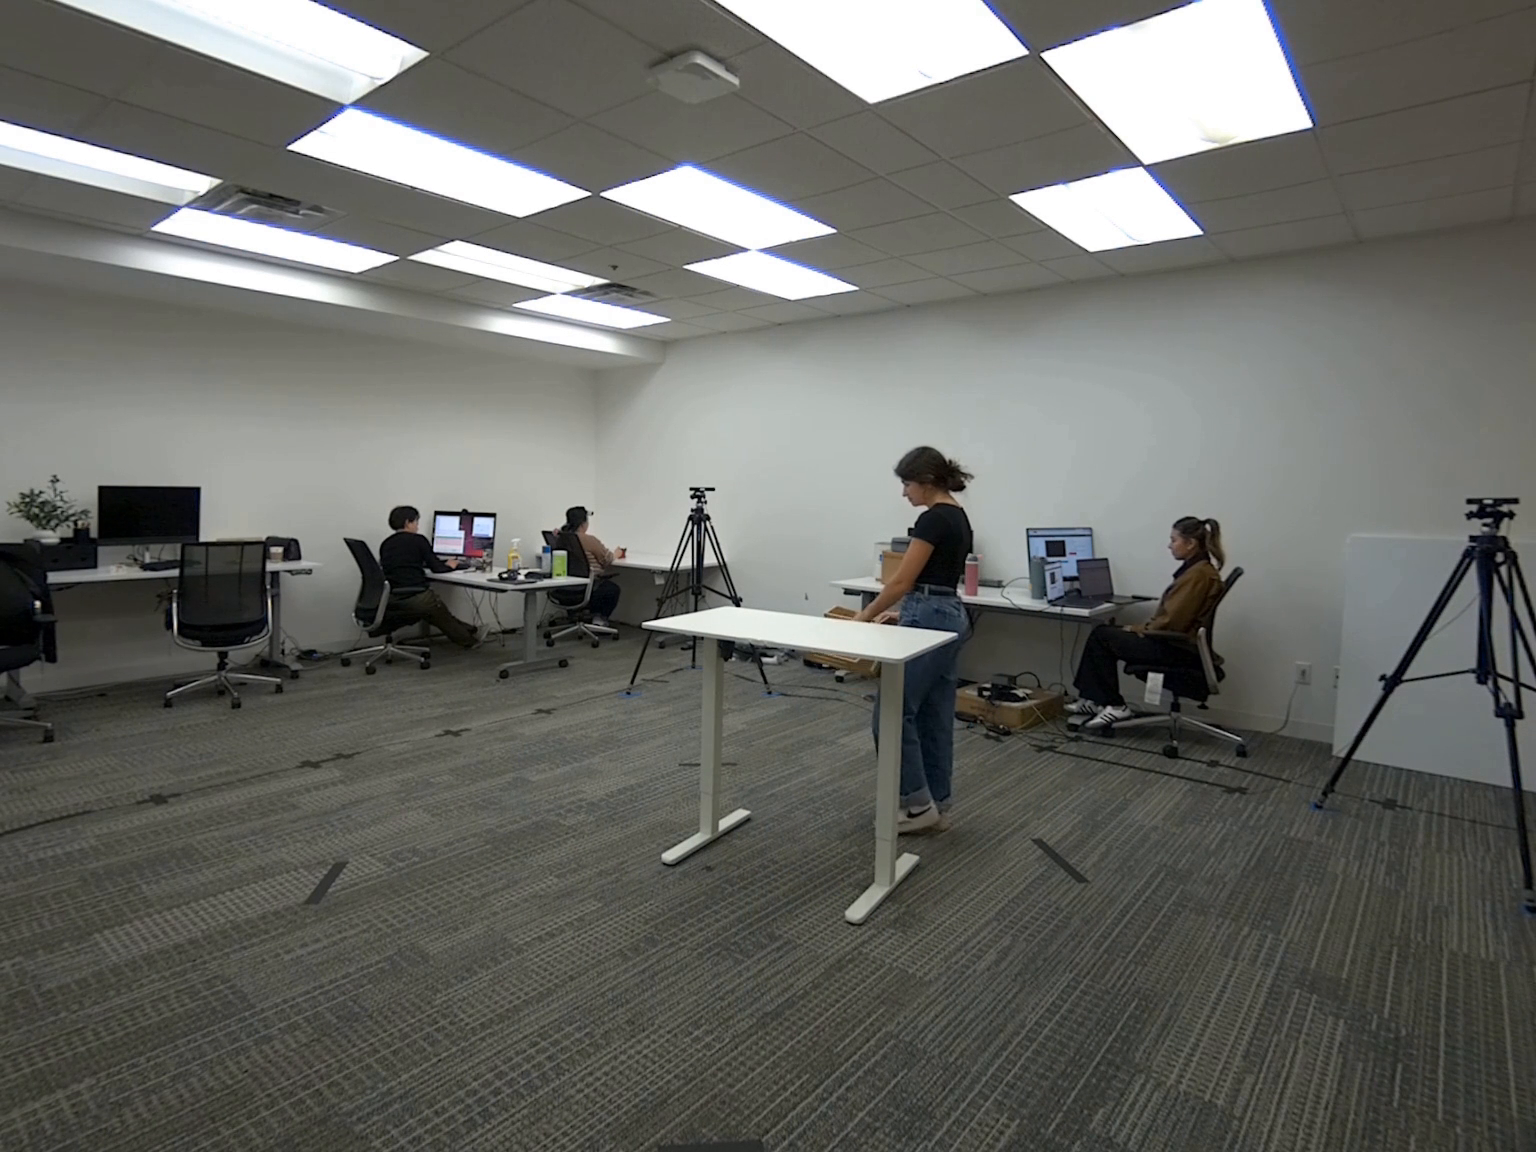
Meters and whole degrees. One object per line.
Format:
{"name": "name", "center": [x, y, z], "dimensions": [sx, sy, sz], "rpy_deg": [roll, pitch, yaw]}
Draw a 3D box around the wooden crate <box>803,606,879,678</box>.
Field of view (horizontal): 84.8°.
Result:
{"name": "wooden crate", "center": [0.367, 0.263, 3.702], "dimensions": [0.290, 0.274, 0.336], "rpy_deg": [17, -6, -44]}
